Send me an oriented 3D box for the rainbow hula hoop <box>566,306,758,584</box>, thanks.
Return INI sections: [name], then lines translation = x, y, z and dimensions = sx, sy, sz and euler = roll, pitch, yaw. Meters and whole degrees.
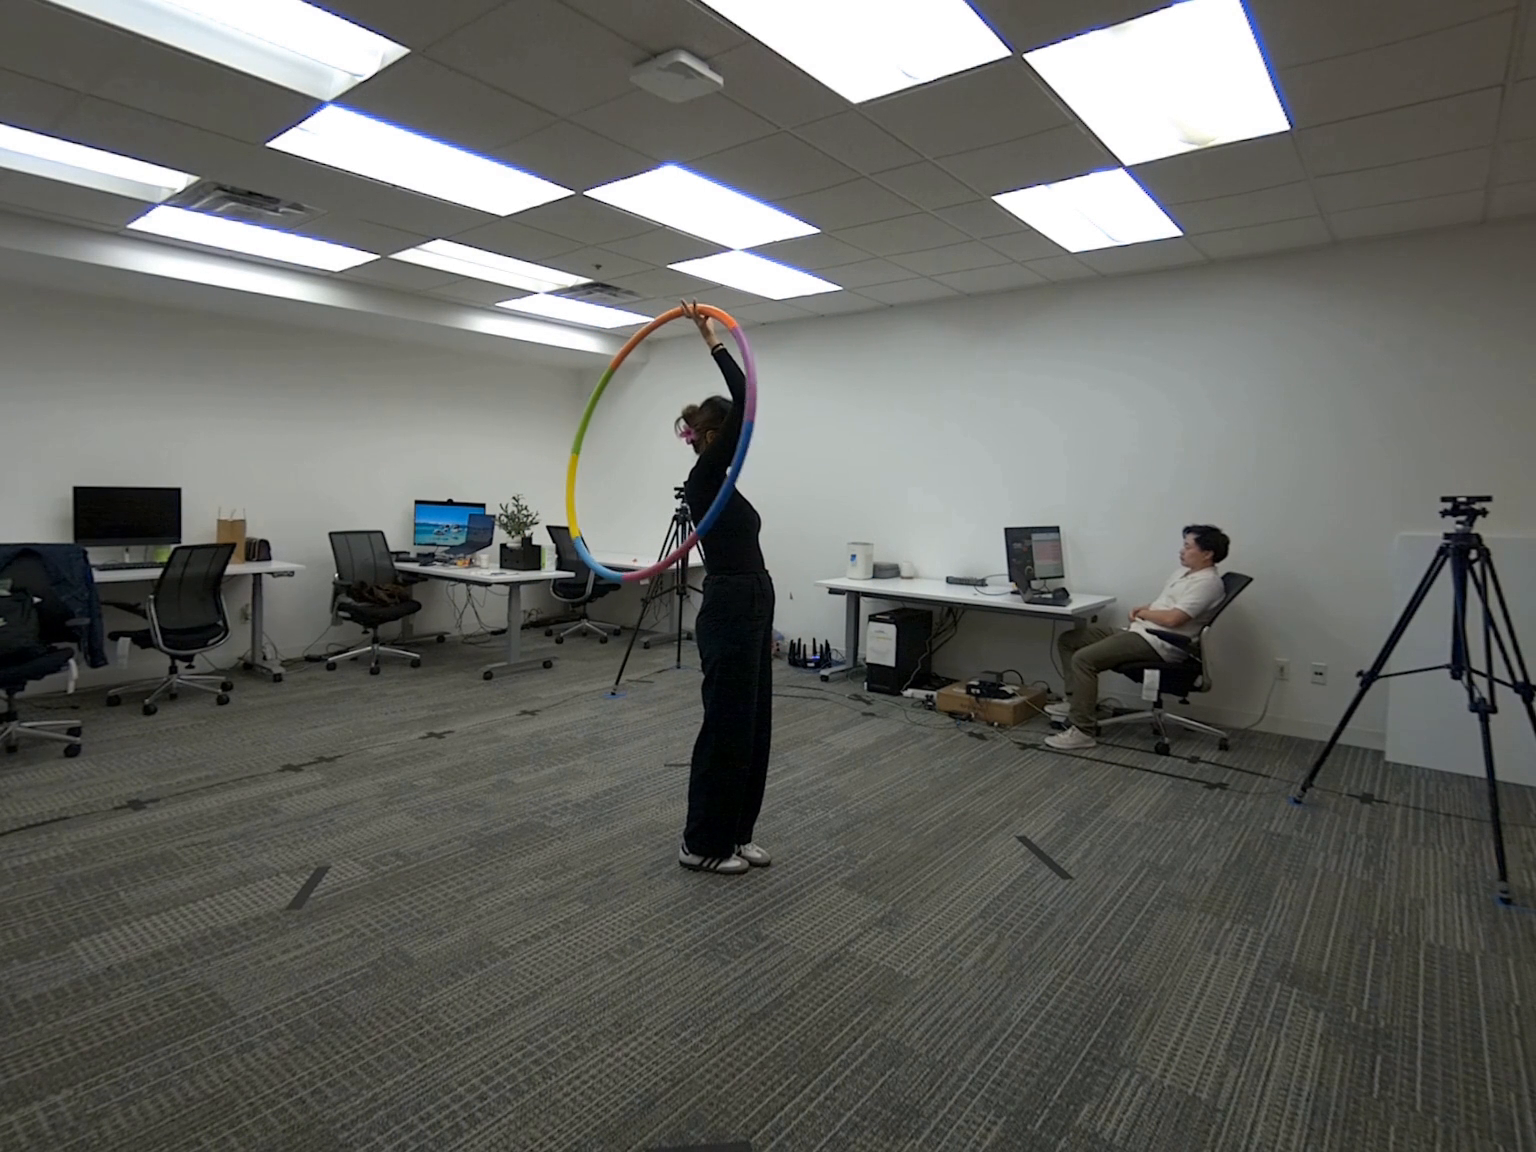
[rainbow hula hoop]
translation = -0.399, -0.470, 2.925
dimensions = 0.049, 0.990, 1.019
euler = 19, -9, -43
